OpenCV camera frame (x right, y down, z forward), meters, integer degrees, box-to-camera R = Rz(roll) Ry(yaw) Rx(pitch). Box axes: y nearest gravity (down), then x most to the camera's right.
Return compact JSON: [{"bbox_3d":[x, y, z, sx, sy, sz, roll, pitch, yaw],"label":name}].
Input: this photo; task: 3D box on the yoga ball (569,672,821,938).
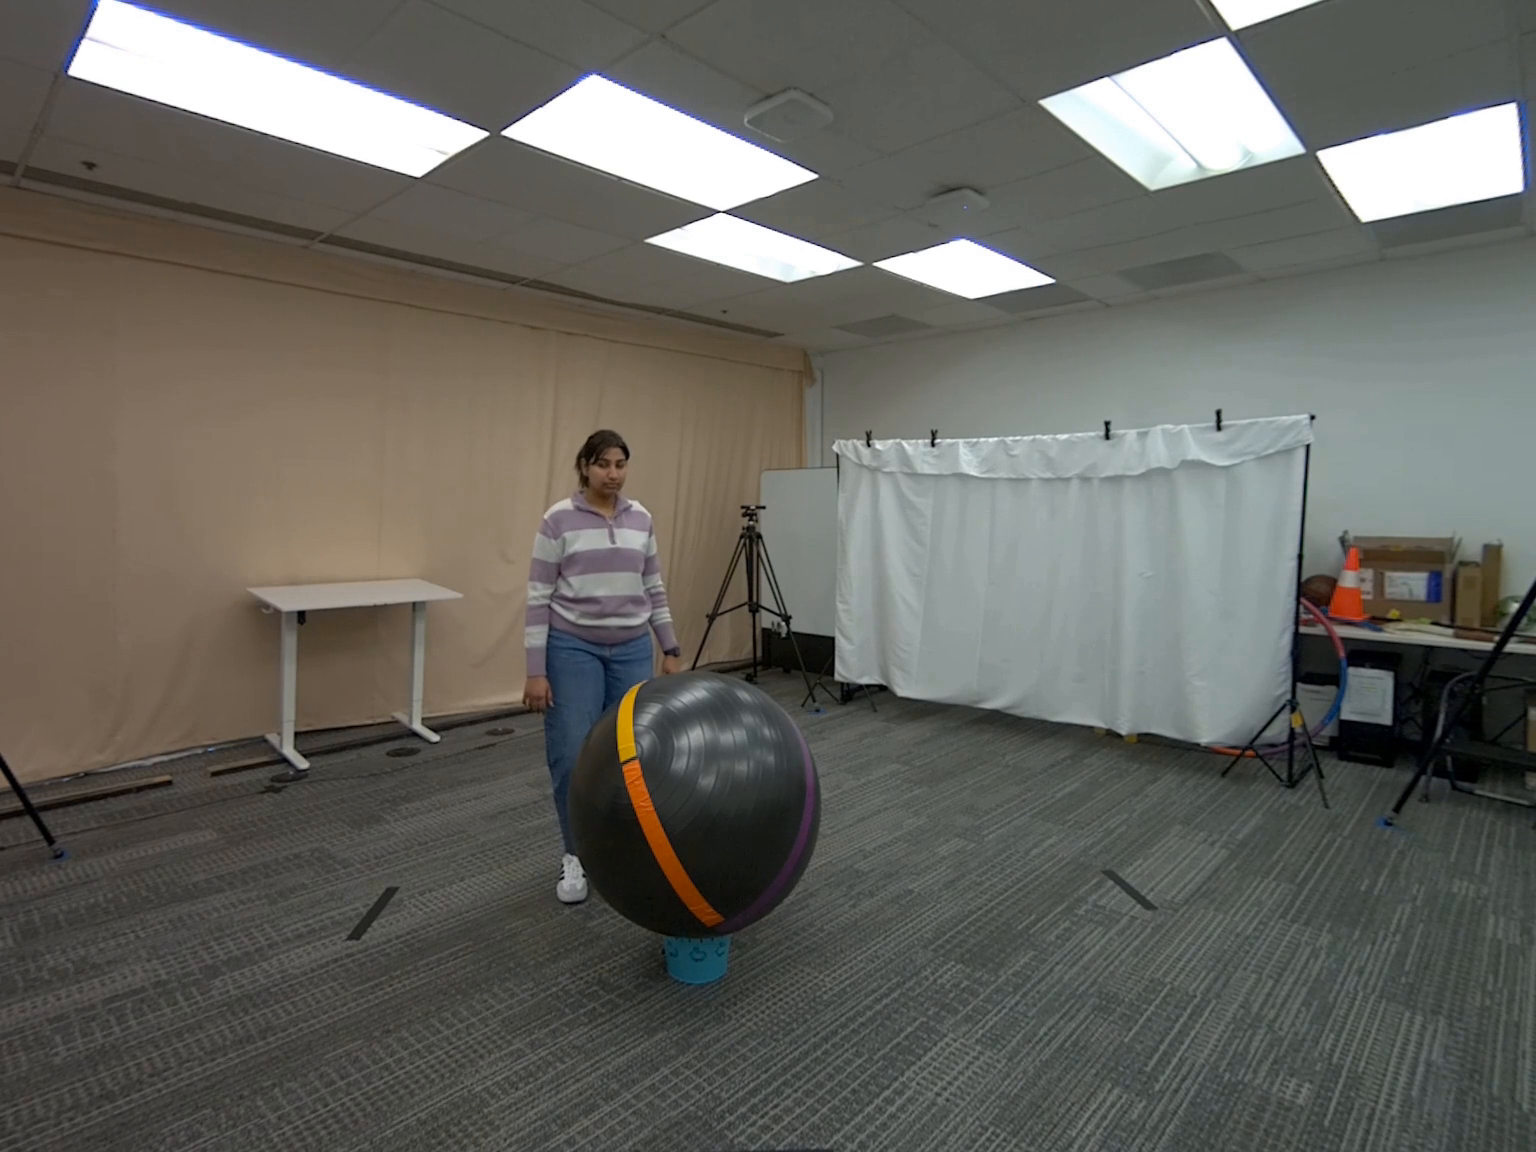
[{"bbox_3d":[-0.214,0.675,2.512,0.757,0.756,0.761,0,4,-2],"label":"yoga ball"}]
